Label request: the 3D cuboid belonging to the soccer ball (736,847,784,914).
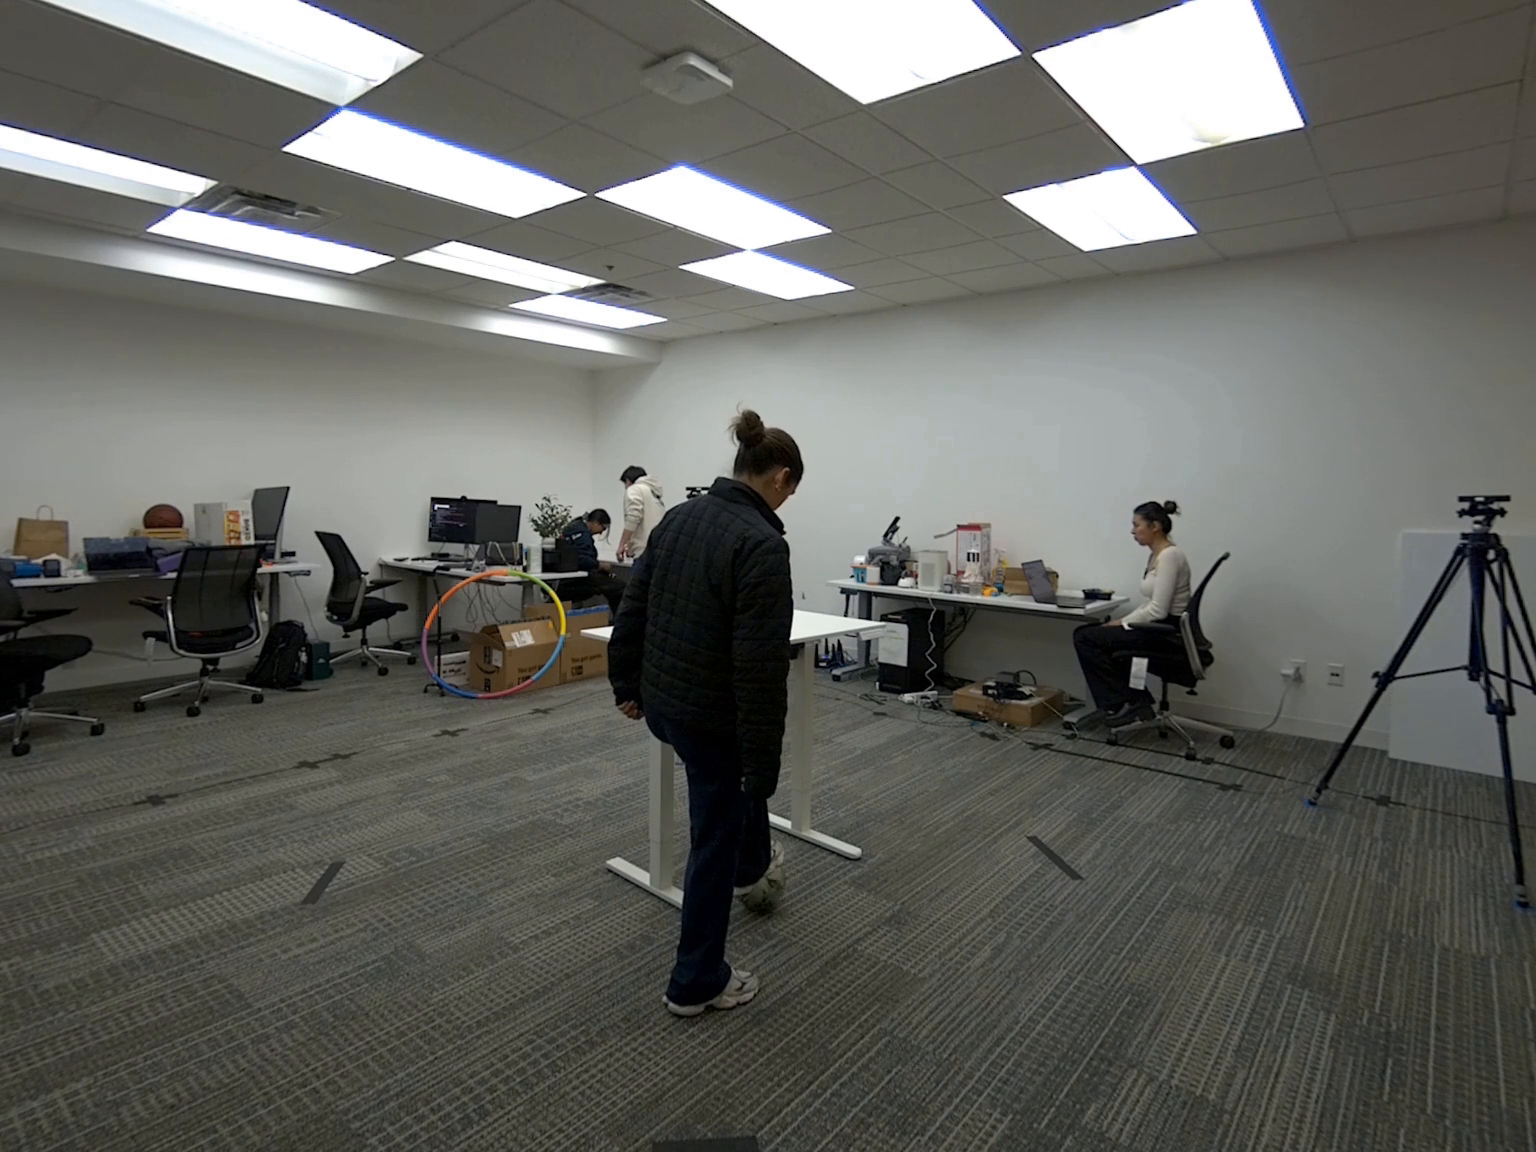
[{"bbox_3d":[-0.039,1.006,2.819,0.187,0.187,0.188,1,4,-2],"label":"soccer ball"}]
